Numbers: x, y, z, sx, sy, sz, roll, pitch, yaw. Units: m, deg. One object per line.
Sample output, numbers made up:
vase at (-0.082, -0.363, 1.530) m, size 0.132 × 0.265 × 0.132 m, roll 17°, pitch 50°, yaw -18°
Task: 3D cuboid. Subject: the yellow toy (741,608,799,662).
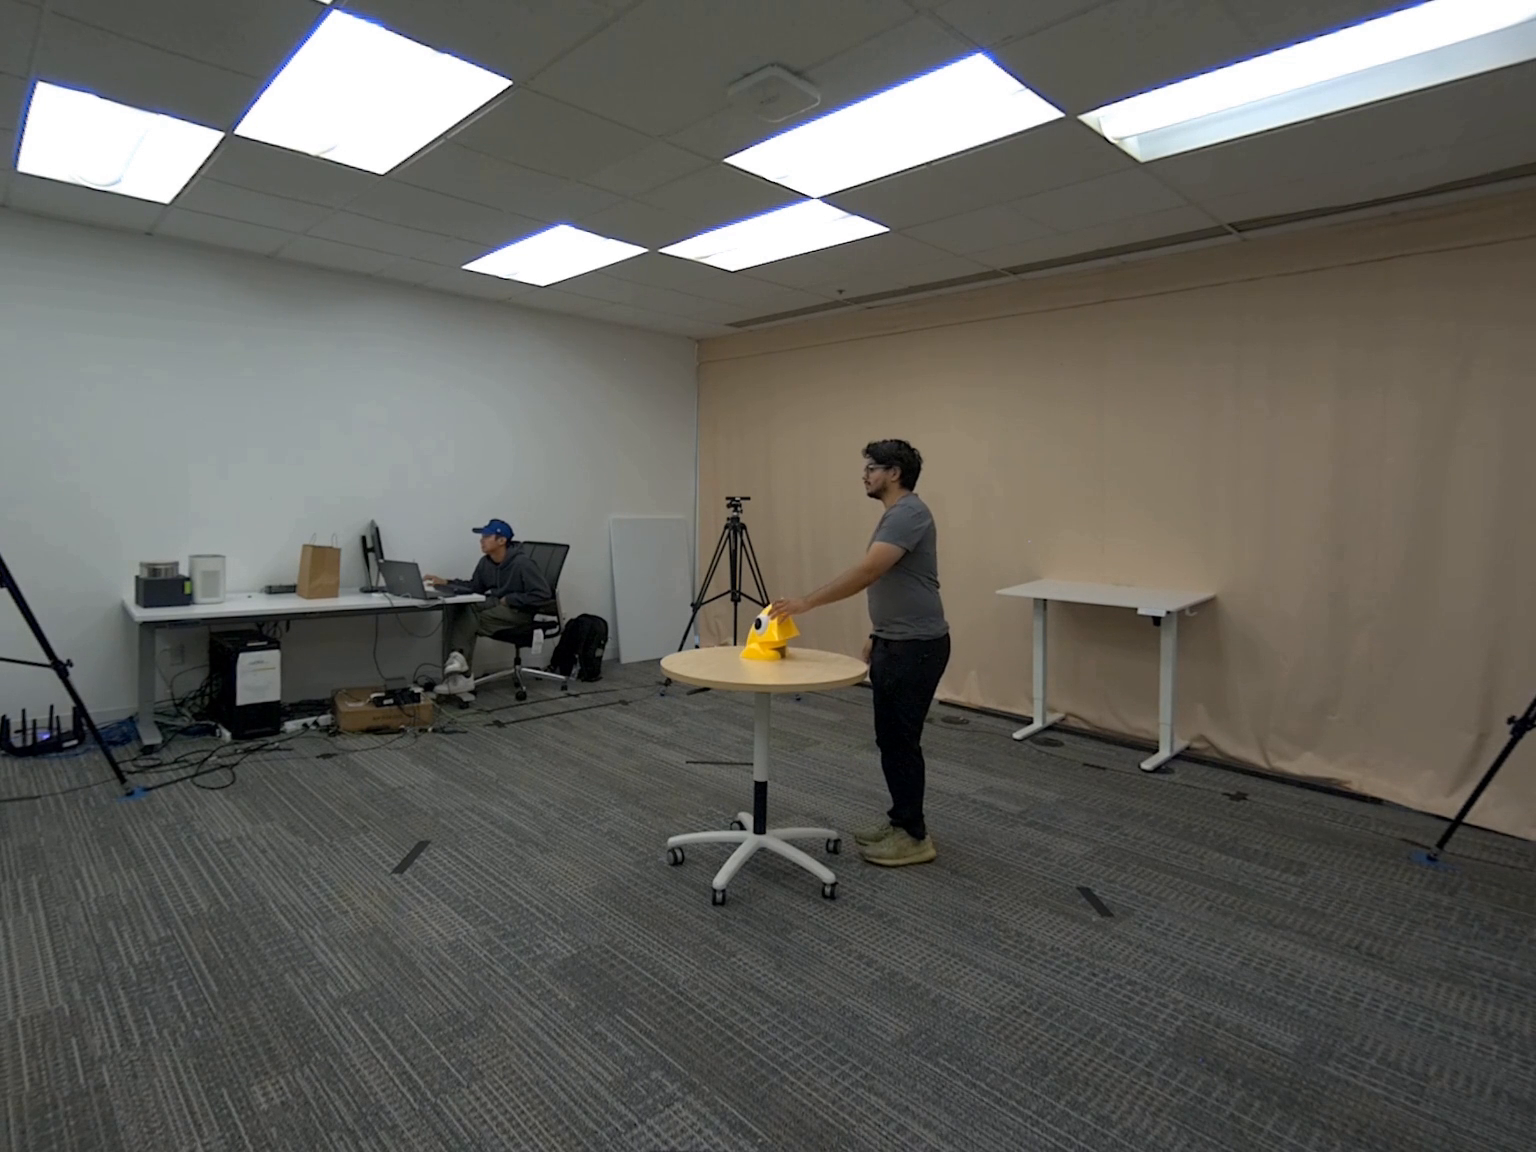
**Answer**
yellow toy at (-0.008, 0.199, 3.275) m, size 0.197 × 0.230 × 0.201 m, roll 3°, pitch 3°, yaw 27°
